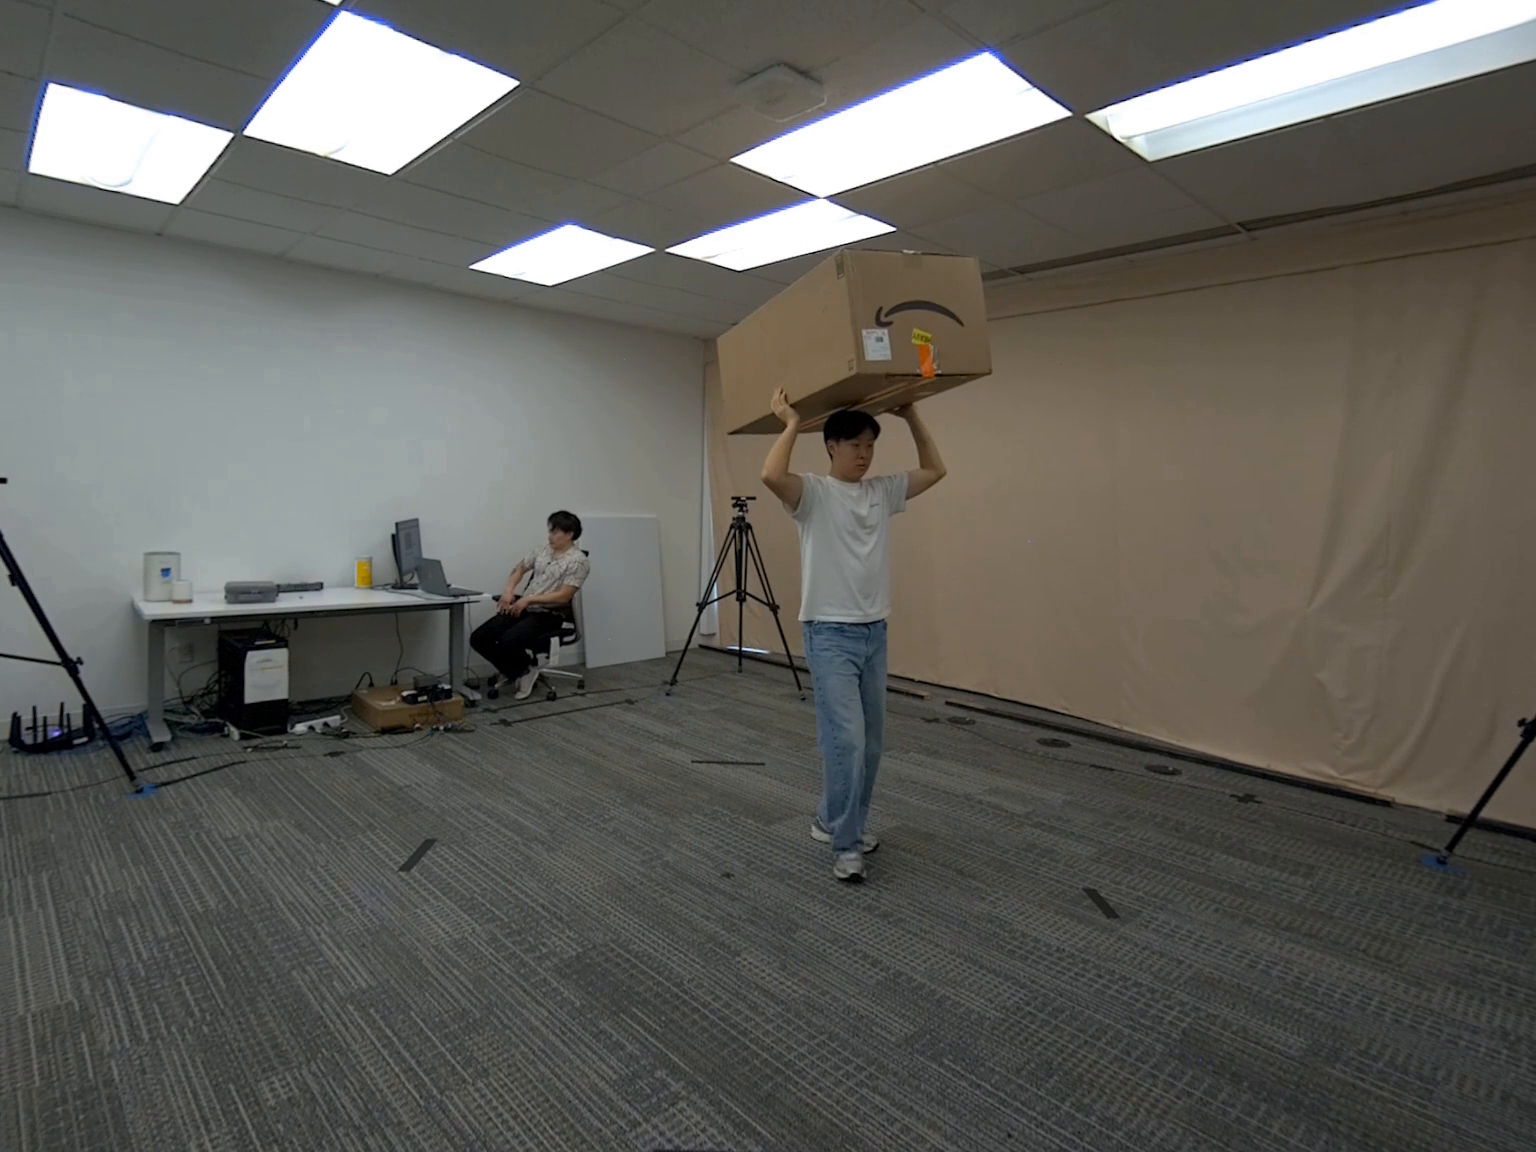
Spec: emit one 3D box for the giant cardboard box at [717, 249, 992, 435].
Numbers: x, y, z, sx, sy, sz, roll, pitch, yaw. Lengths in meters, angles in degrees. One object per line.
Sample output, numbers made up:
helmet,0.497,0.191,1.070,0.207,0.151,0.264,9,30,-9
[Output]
giant cardboard box,0.278,-0.861,3.310,0.568,0.426,1.042,-6,0,-27
